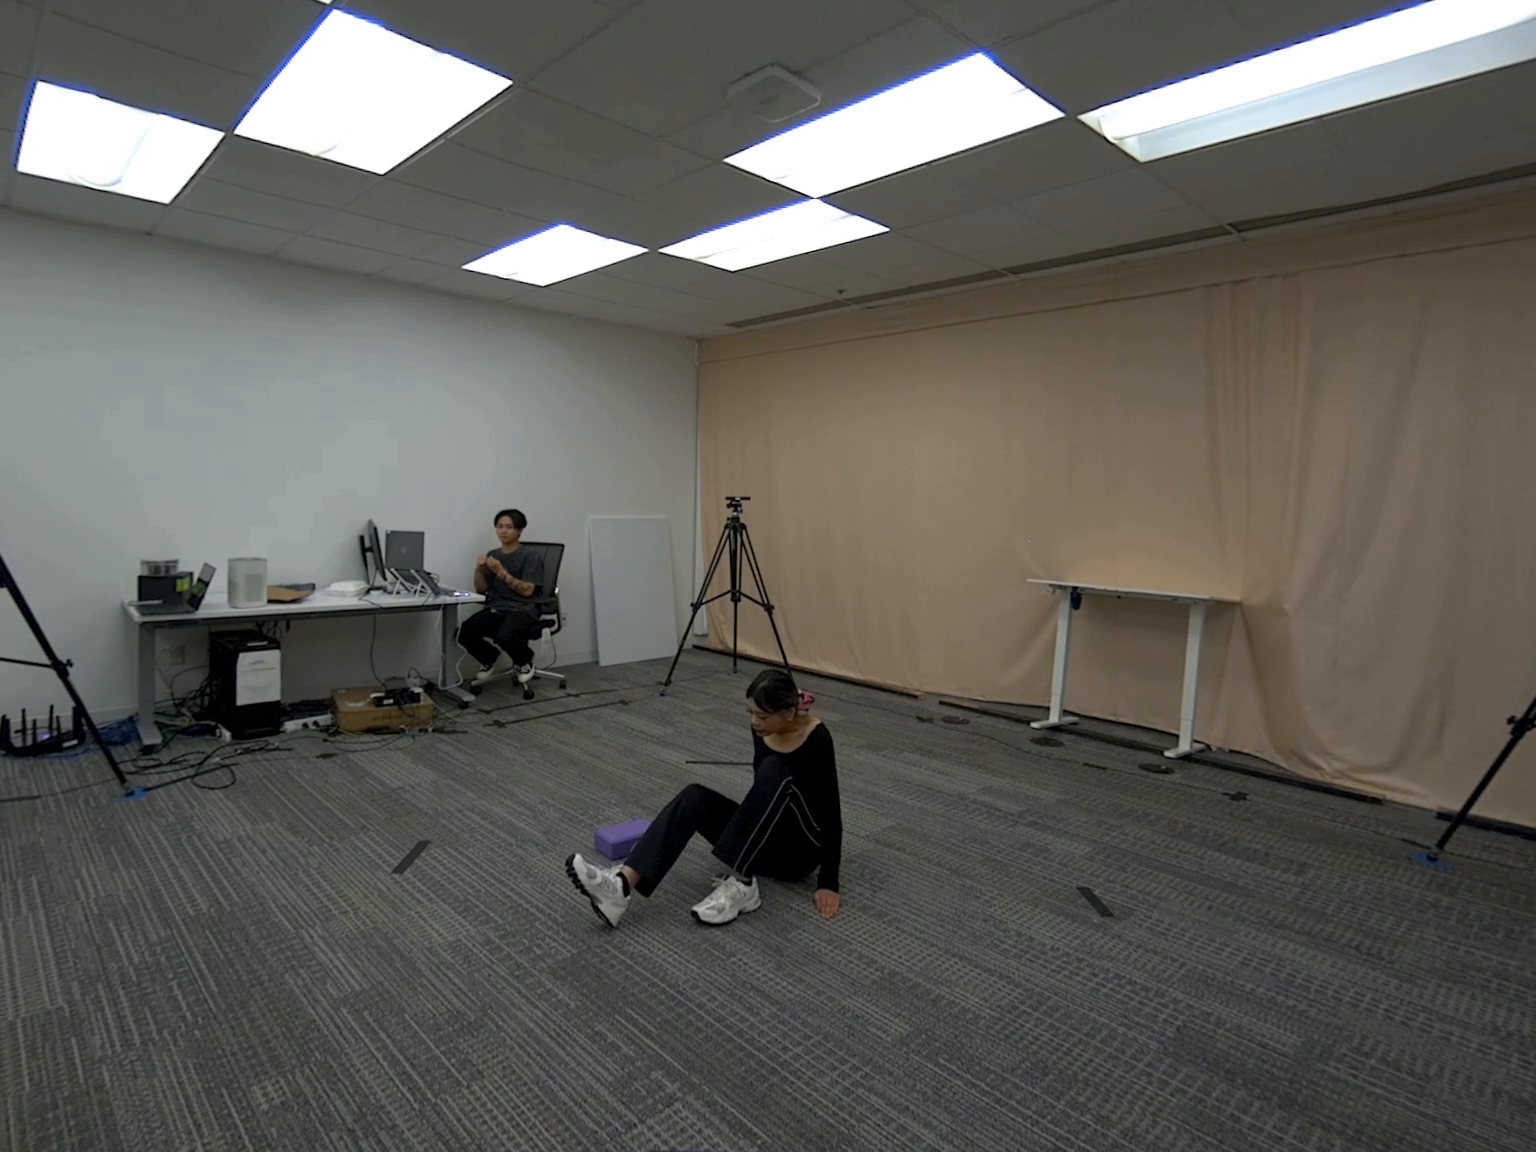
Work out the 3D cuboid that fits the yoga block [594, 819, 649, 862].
[{"bbox_3d":[-0.554,1.030,3.326,0.224,0.076,0.153,-4,7,-39],"label":"yoga block"}]
